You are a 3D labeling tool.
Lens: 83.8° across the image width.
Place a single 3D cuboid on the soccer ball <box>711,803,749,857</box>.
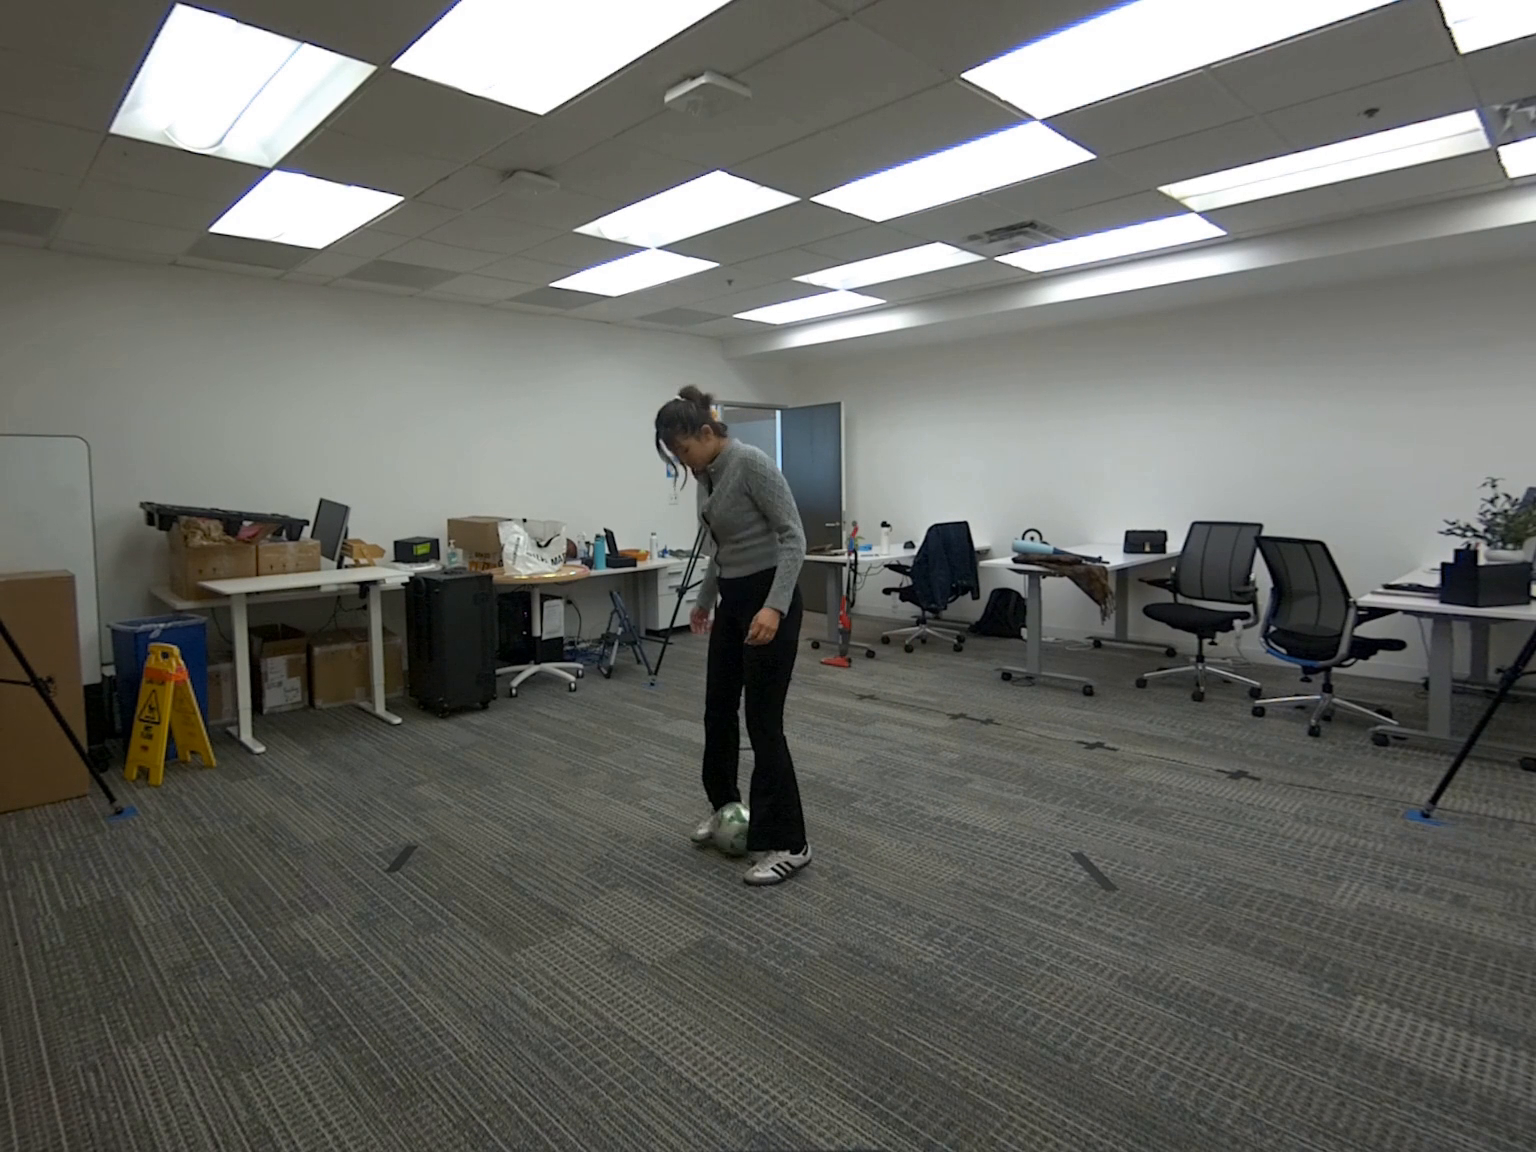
[{"bbox_3d":[-0.116,0.946,3.184,0.187,0.187,0.188,-1,5,-2],"label":"soccer ball"}]
